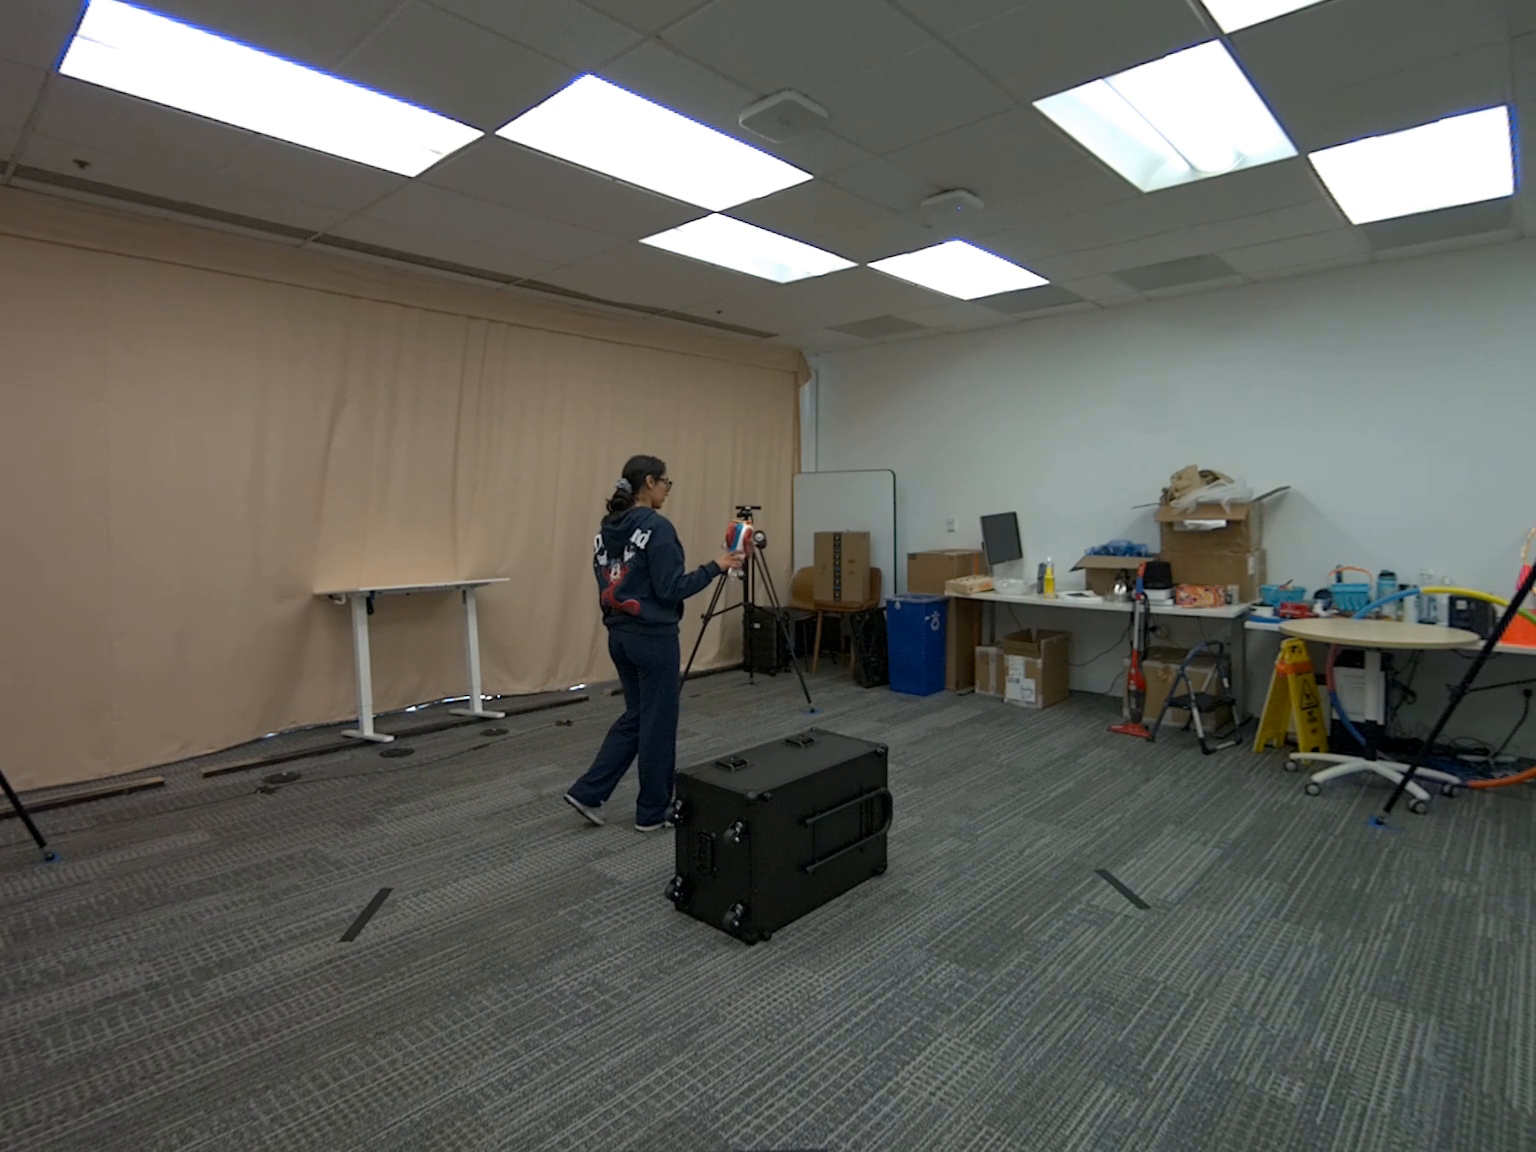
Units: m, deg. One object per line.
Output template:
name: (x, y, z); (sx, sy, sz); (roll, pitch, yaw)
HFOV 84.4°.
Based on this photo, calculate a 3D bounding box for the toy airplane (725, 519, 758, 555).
toy airplane: (-0.109, -0.116, 3.602); (0.159, 0.248, 0.257); (28, 50, 14)
